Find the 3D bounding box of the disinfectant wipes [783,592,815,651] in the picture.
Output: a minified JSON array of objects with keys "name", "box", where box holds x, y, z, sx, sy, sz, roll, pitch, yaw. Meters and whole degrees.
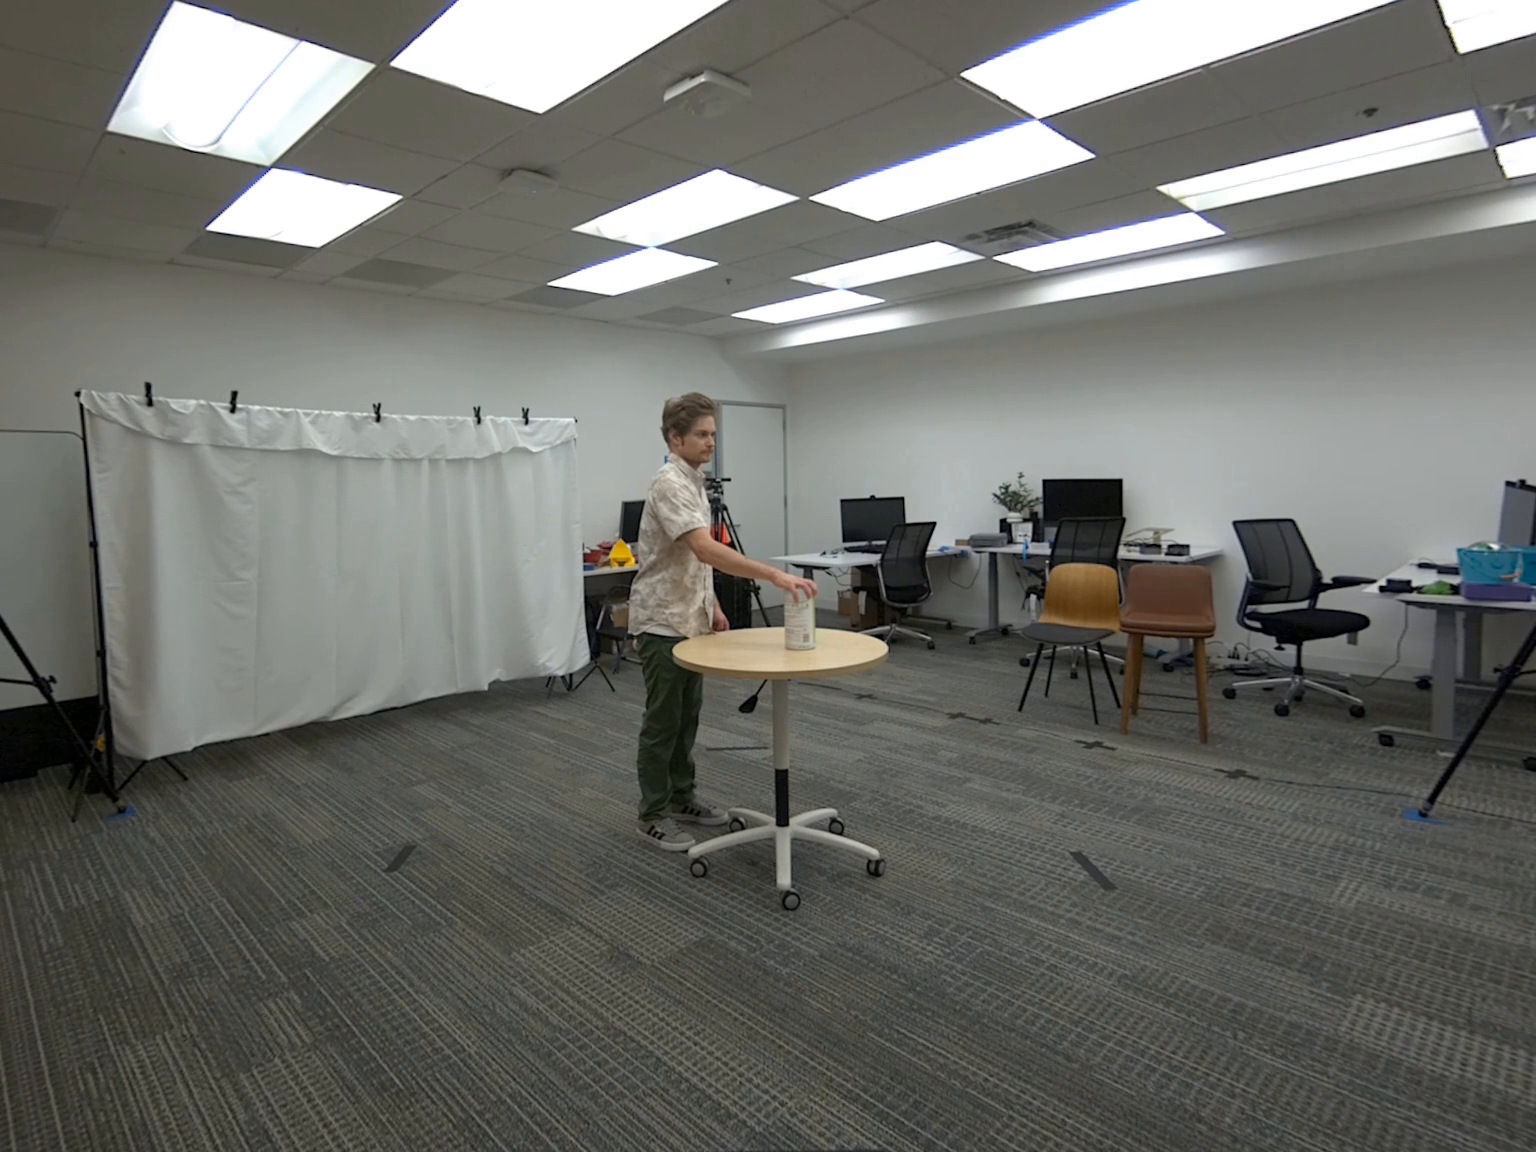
[{"name":"disinfectant wipes","box":[0.115,0.149,3.027,0.118,0.217,0.118,-2,3,-2]}]
